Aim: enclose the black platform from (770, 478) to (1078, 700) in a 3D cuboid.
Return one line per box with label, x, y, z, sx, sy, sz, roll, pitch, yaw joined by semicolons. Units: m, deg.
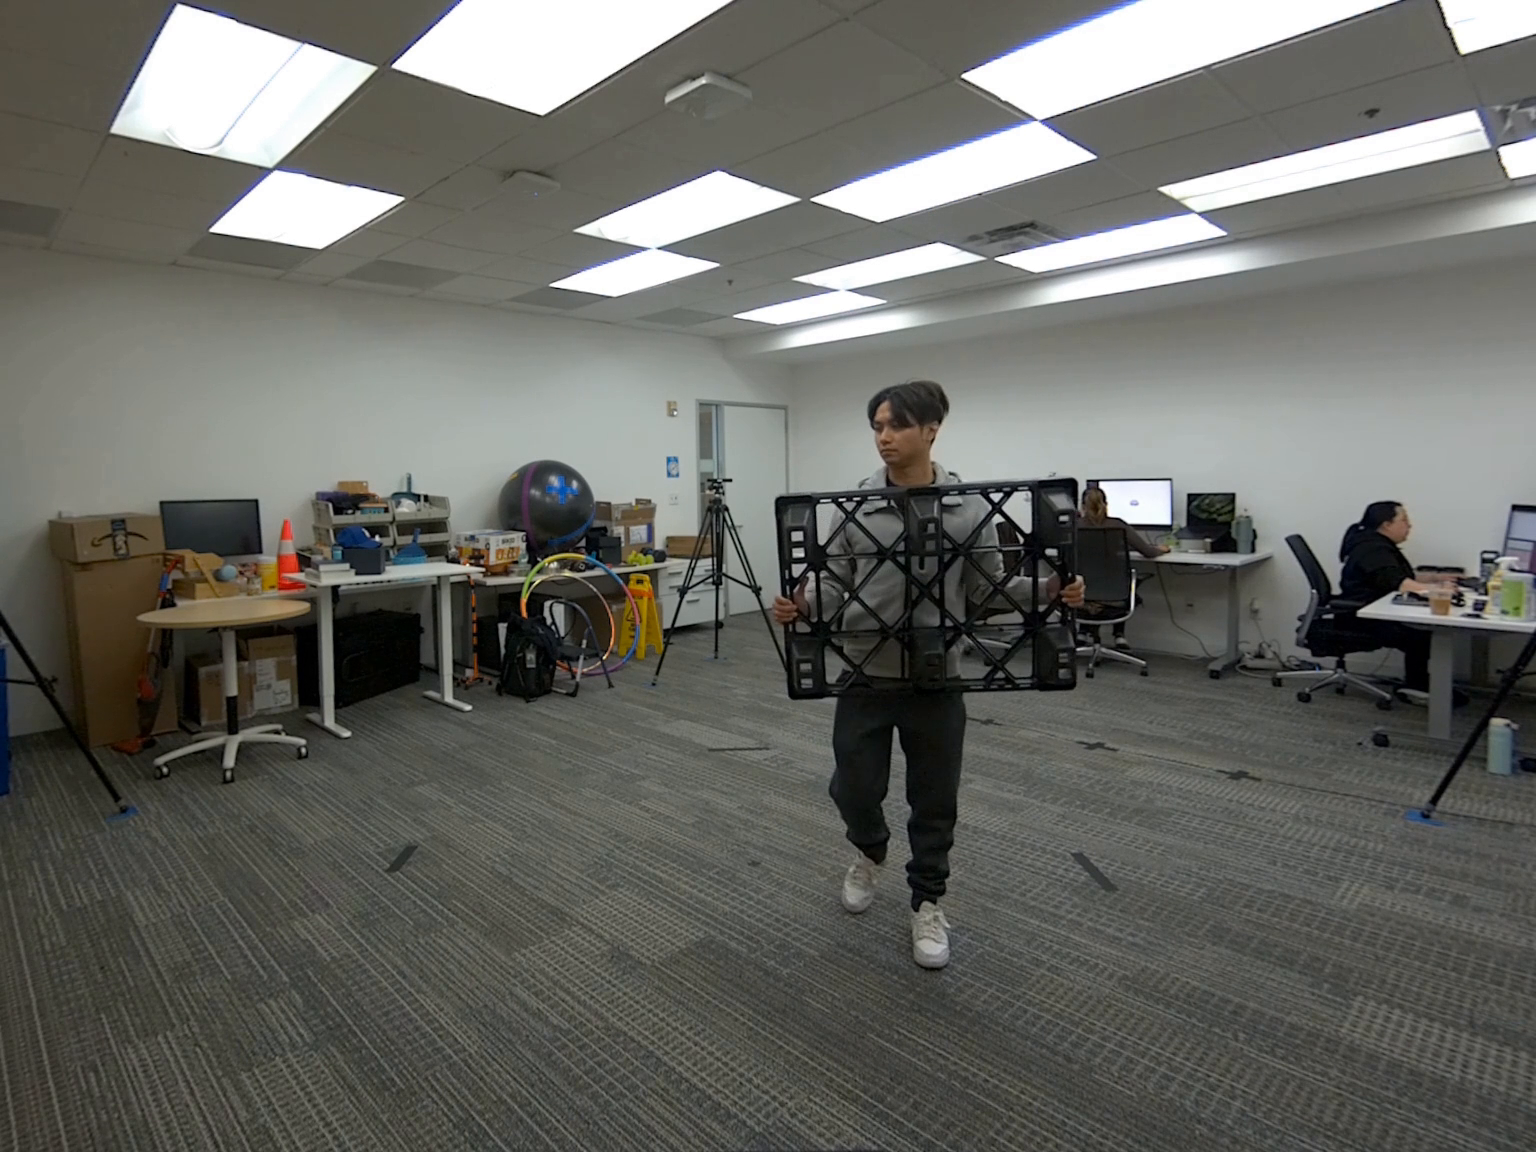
black platform;0.429;0.063;2.320;0.810;0.598;0.144;-4;11;7
